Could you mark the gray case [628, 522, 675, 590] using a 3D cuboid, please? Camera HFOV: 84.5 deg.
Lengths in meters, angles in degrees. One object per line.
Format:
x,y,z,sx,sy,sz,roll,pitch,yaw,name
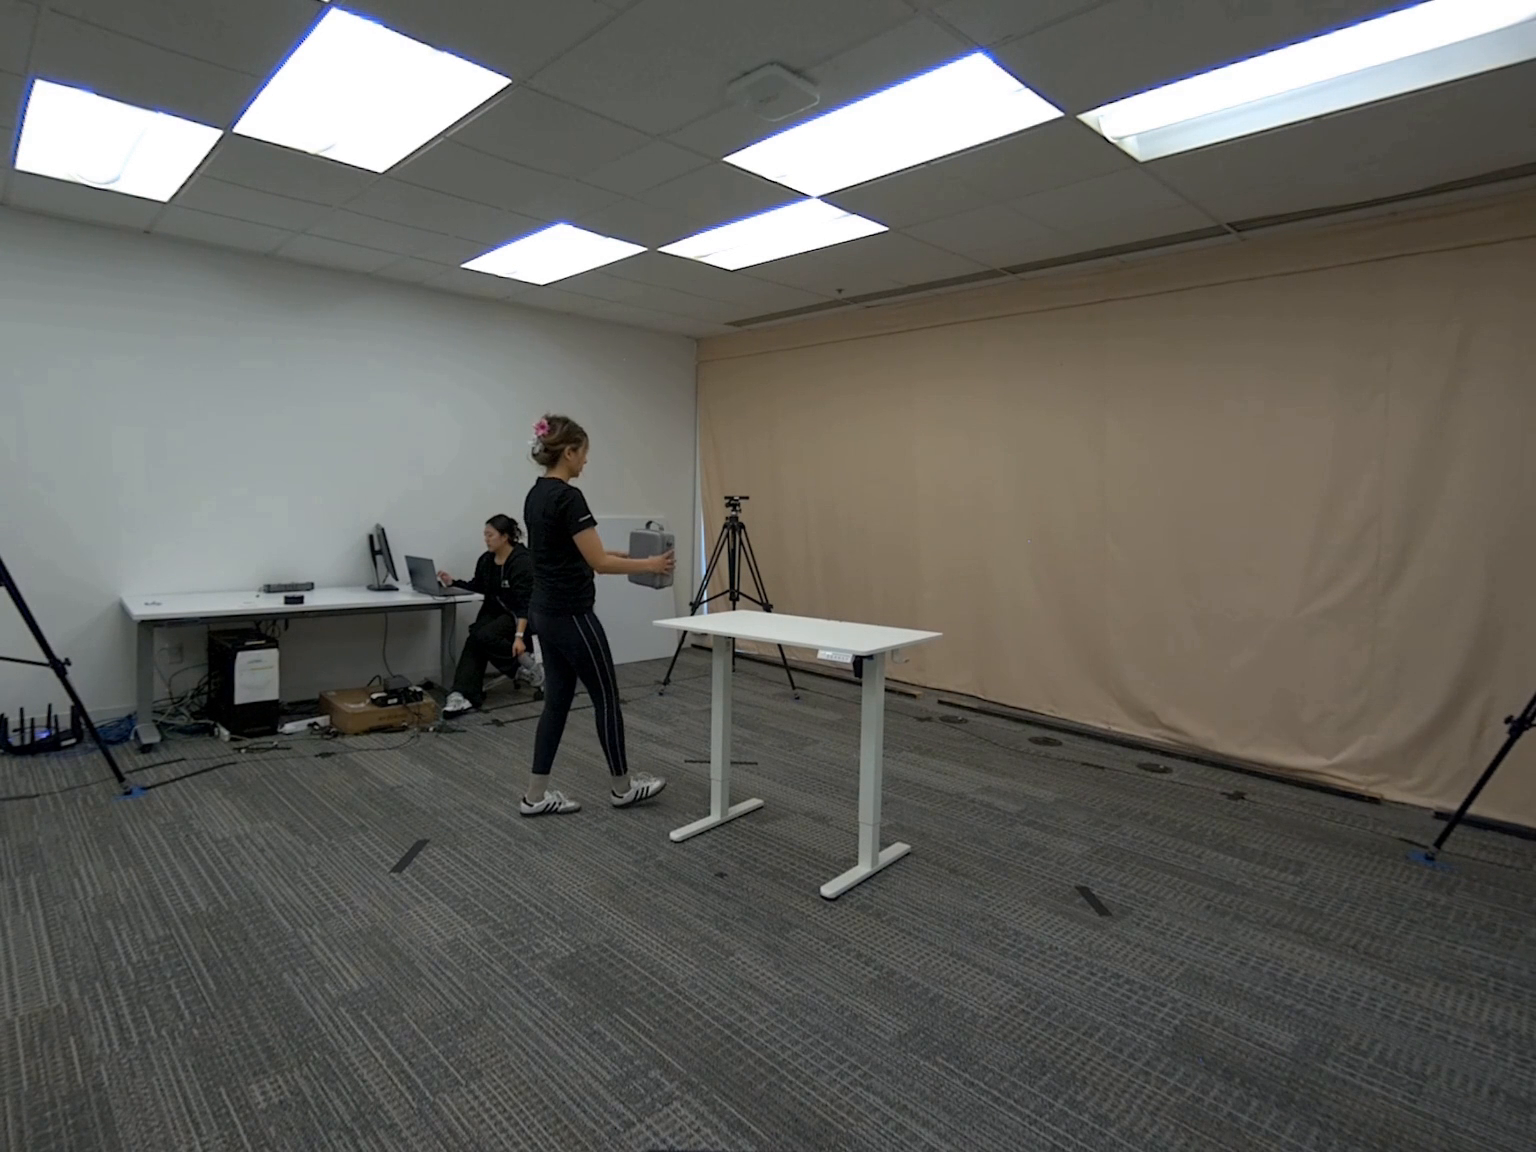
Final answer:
-0.543,-0.087,3.831,0.102,0.260,0.264,0,6,-40,gray case
